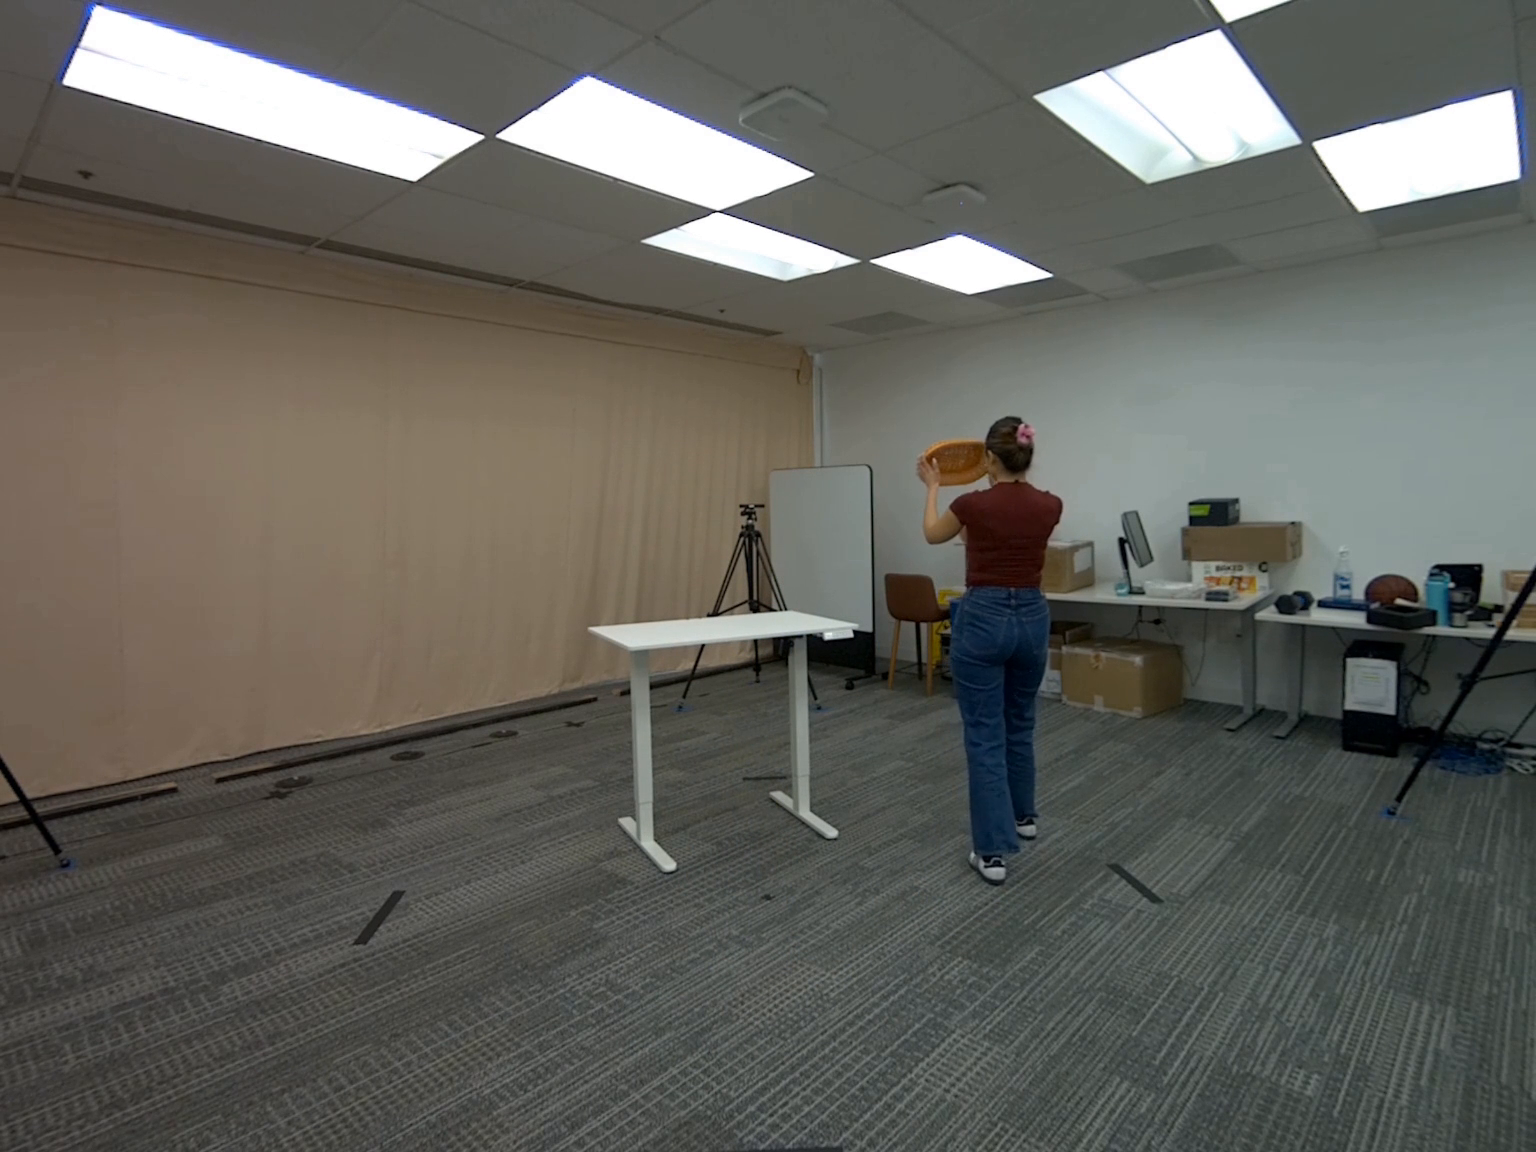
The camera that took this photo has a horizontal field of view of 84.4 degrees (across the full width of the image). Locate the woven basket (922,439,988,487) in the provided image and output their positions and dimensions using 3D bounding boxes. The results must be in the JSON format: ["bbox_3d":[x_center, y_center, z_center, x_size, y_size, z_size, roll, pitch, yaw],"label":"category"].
[{"bbox_3d":[0.828,-0.516,3.690,0.347,0.075,0.248,-5,-41,-9],"label":"woven basket"}]
